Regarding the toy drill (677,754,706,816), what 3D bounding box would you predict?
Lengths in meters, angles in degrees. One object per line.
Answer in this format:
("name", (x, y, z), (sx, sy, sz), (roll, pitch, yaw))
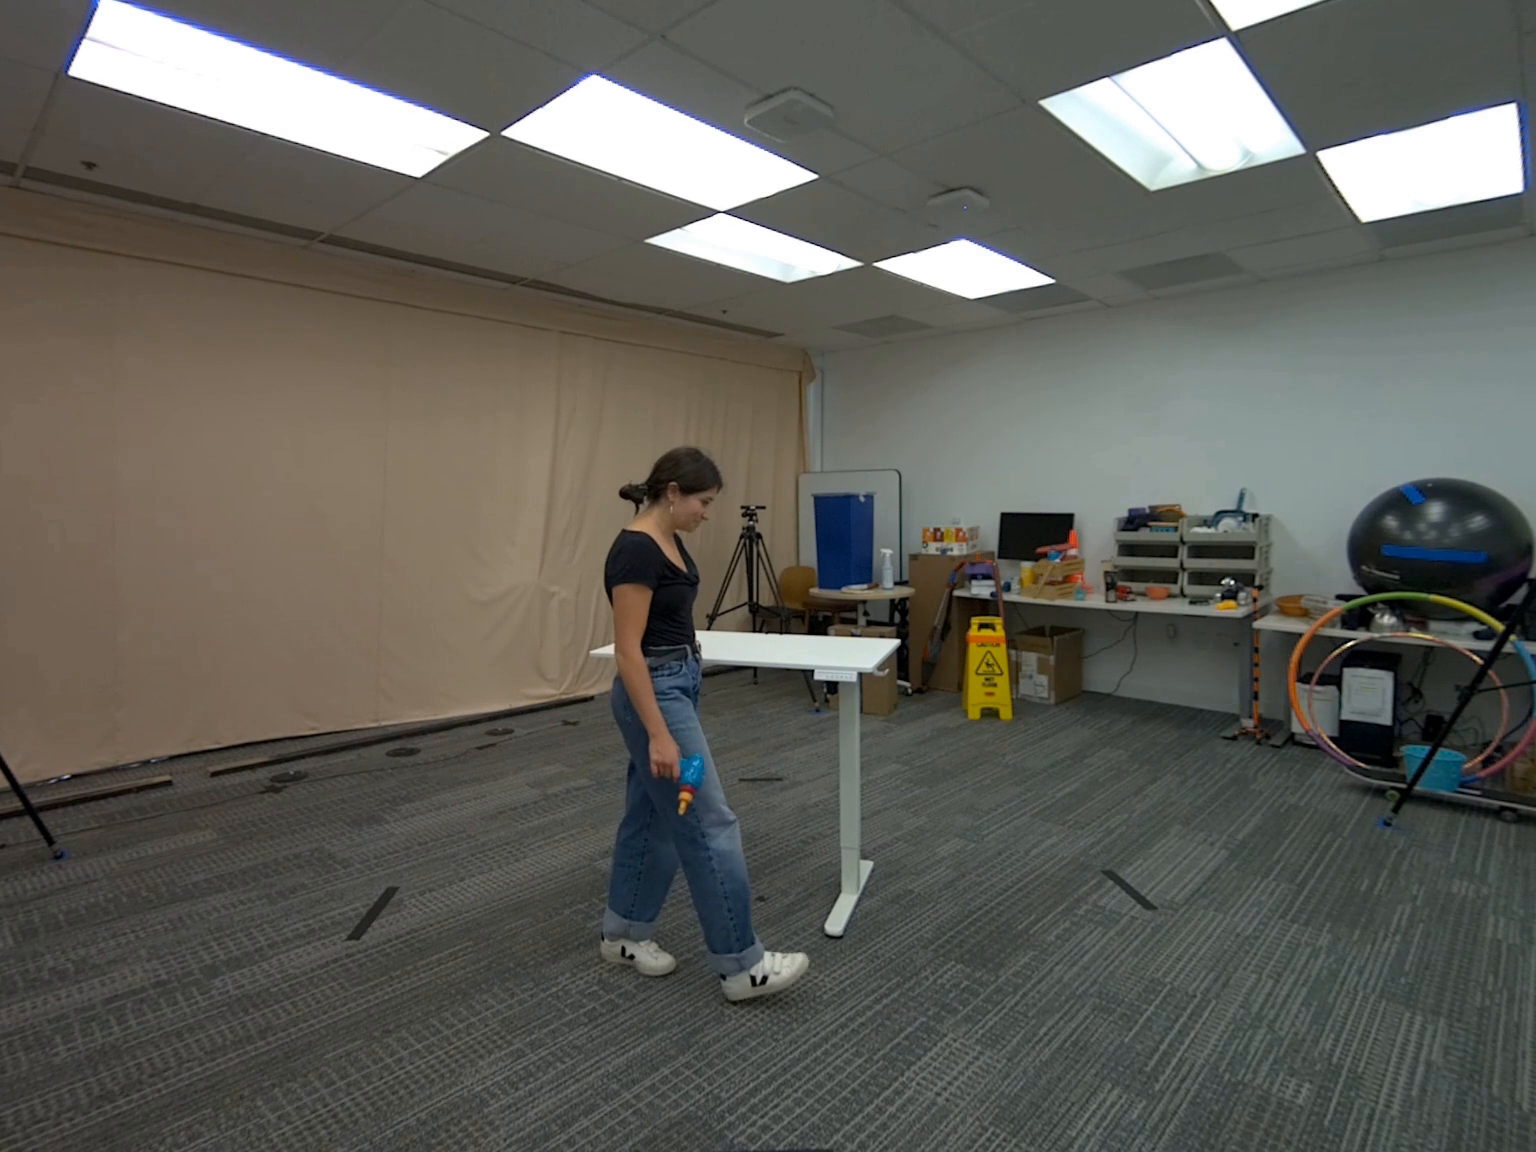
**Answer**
("toy drill", (-0.249, 0.542, 2.225), (0.148, 0.171, 0.060), (5, -35, 12))
